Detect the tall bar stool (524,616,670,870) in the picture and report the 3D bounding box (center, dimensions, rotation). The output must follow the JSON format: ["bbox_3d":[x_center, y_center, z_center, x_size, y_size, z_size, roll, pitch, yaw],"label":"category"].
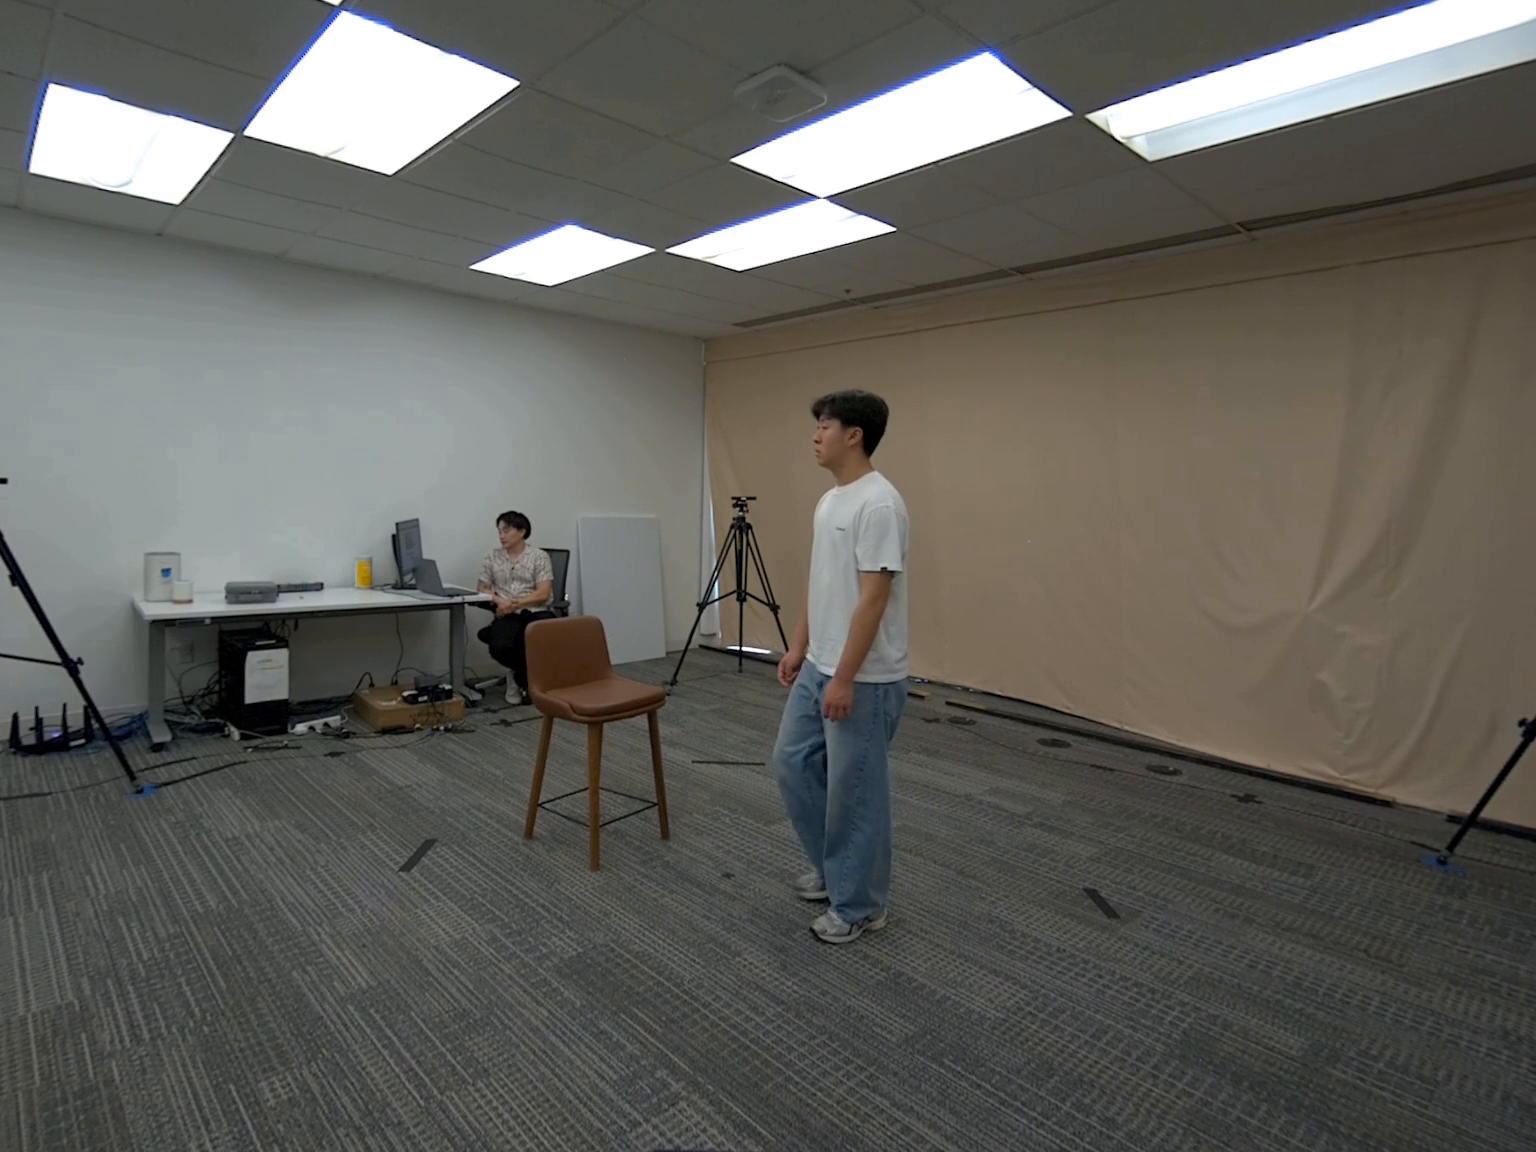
[{"bbox_3d":[-0.702,0.634,3.394,0.479,0.889,0.446,1,2,39],"label":"tall bar stool"}]
